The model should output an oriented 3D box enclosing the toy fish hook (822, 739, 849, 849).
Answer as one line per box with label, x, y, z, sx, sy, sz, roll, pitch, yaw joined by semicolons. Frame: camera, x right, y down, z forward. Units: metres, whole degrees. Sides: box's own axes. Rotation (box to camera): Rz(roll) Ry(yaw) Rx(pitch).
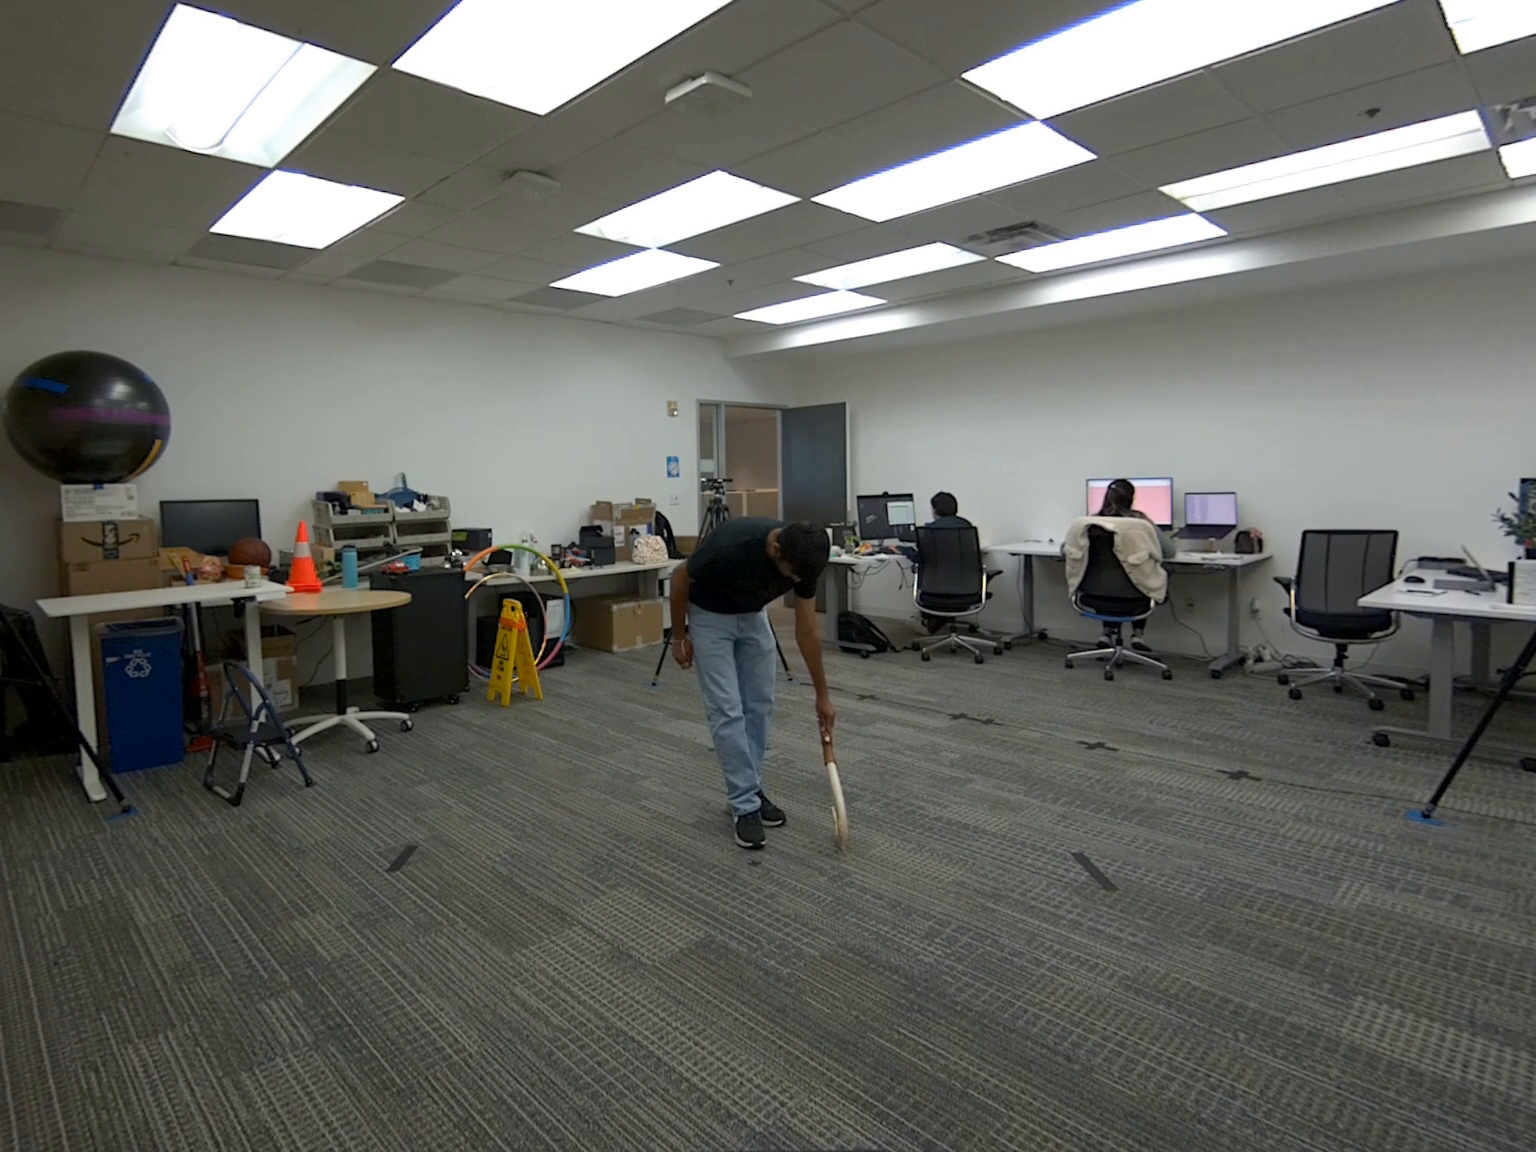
toy fish hook;0.257;0.811;3.350;0.048;0.521;0.219;1;-42;-6
